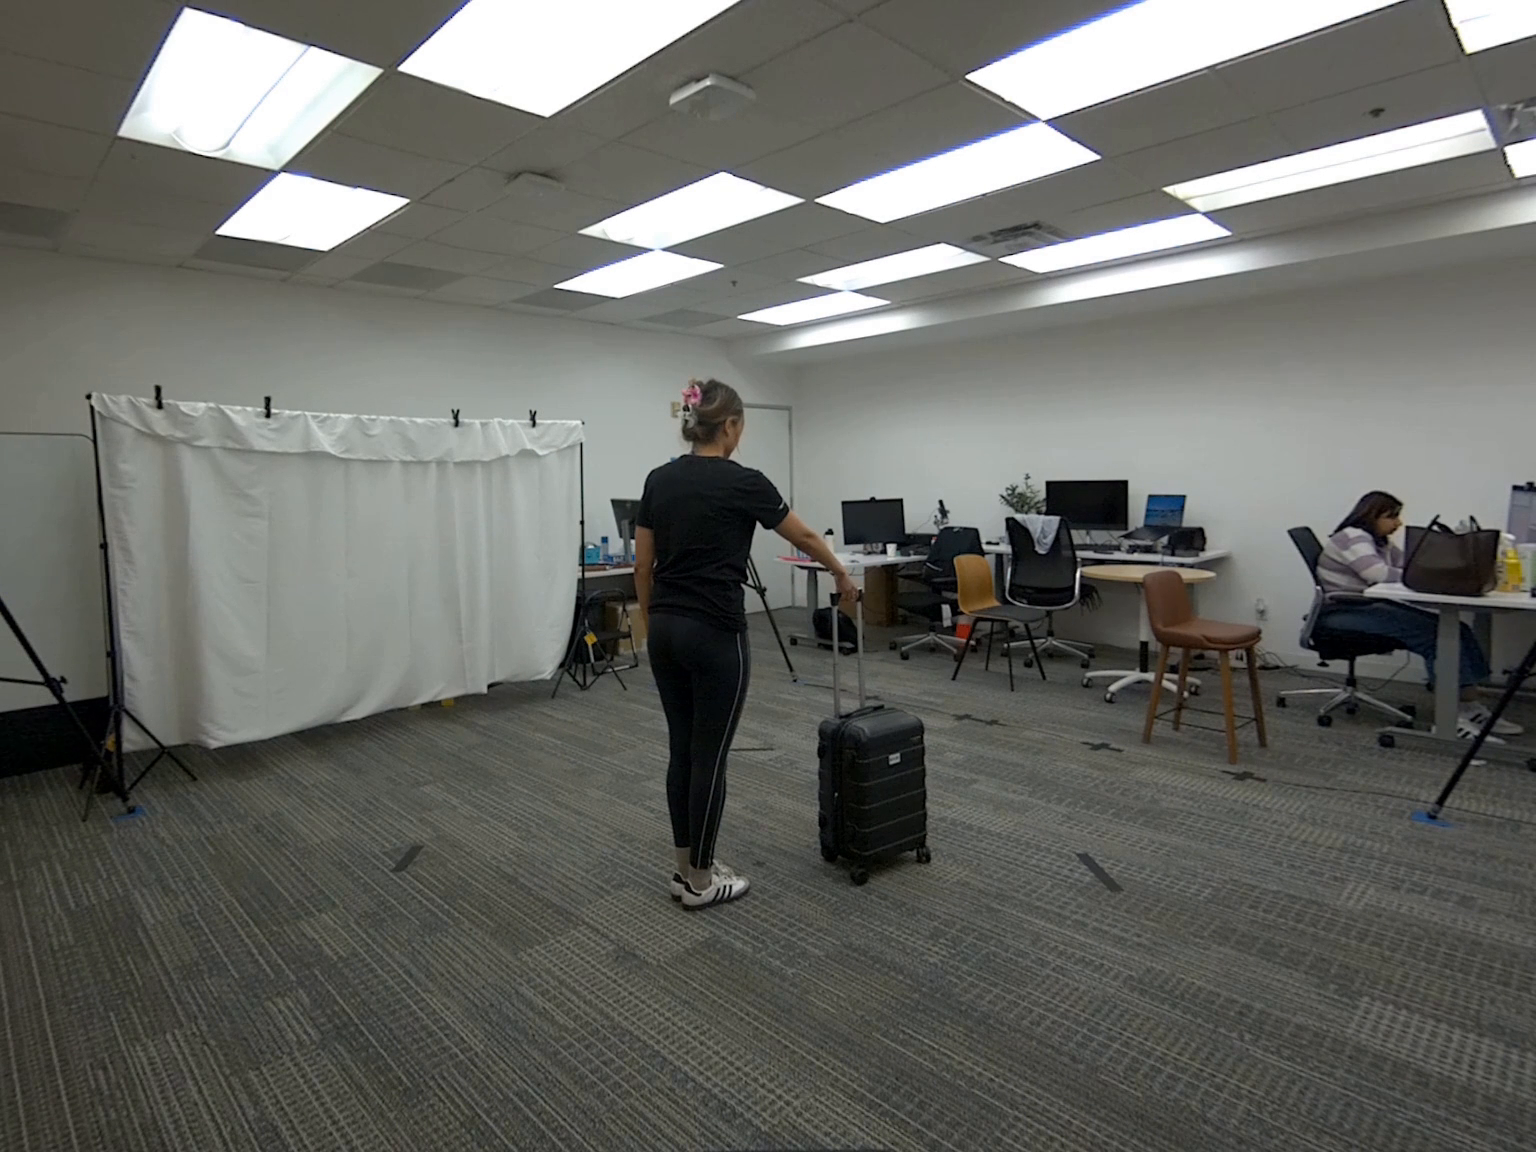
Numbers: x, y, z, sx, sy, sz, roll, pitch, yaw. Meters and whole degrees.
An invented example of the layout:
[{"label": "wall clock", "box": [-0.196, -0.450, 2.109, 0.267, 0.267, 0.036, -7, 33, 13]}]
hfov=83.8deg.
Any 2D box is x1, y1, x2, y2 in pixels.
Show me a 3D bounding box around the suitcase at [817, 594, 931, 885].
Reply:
[{"label": "suitcase", "box": [0.384, 0.566, 3.097, 0.374, 0.975, 0.264, -4, 5, -34]}]
